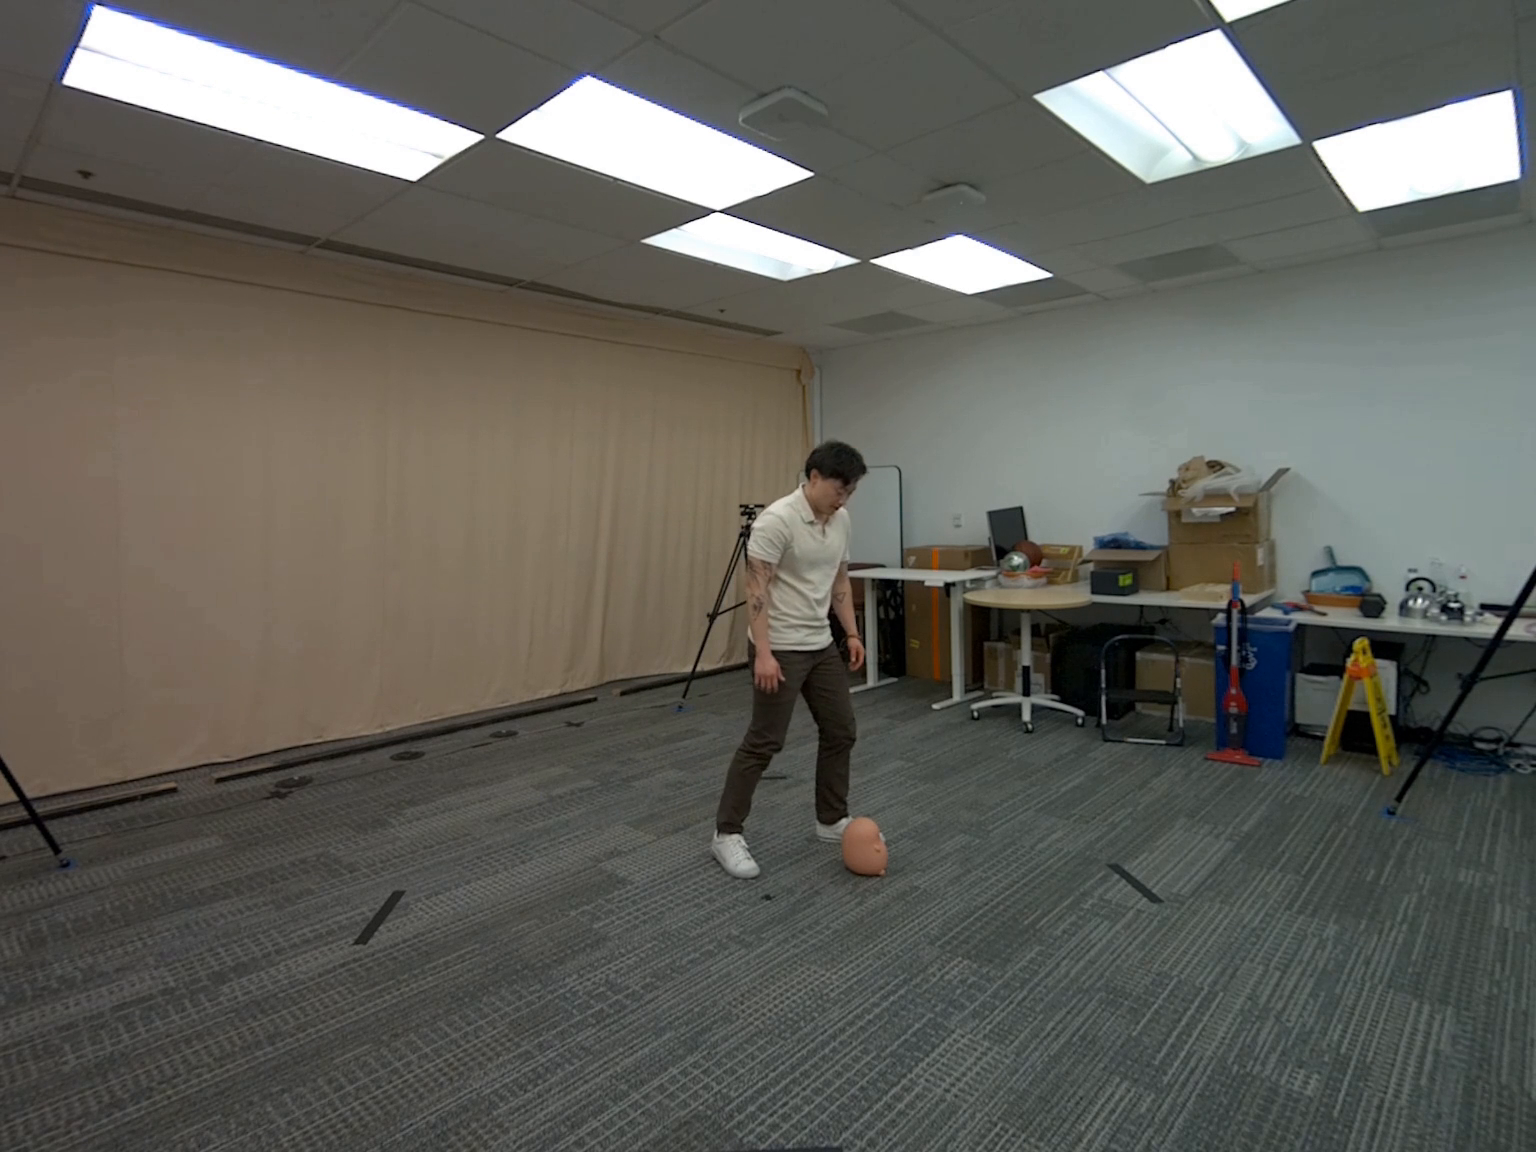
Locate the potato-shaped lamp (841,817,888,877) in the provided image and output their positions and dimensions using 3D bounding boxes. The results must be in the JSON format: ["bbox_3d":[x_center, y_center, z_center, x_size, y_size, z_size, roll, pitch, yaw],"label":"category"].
[{"bbox_3d":[0.368,1.016,3.186,0.173,0.198,0.163,1,-1,9],"label":"potato-shaped lamp"}]
